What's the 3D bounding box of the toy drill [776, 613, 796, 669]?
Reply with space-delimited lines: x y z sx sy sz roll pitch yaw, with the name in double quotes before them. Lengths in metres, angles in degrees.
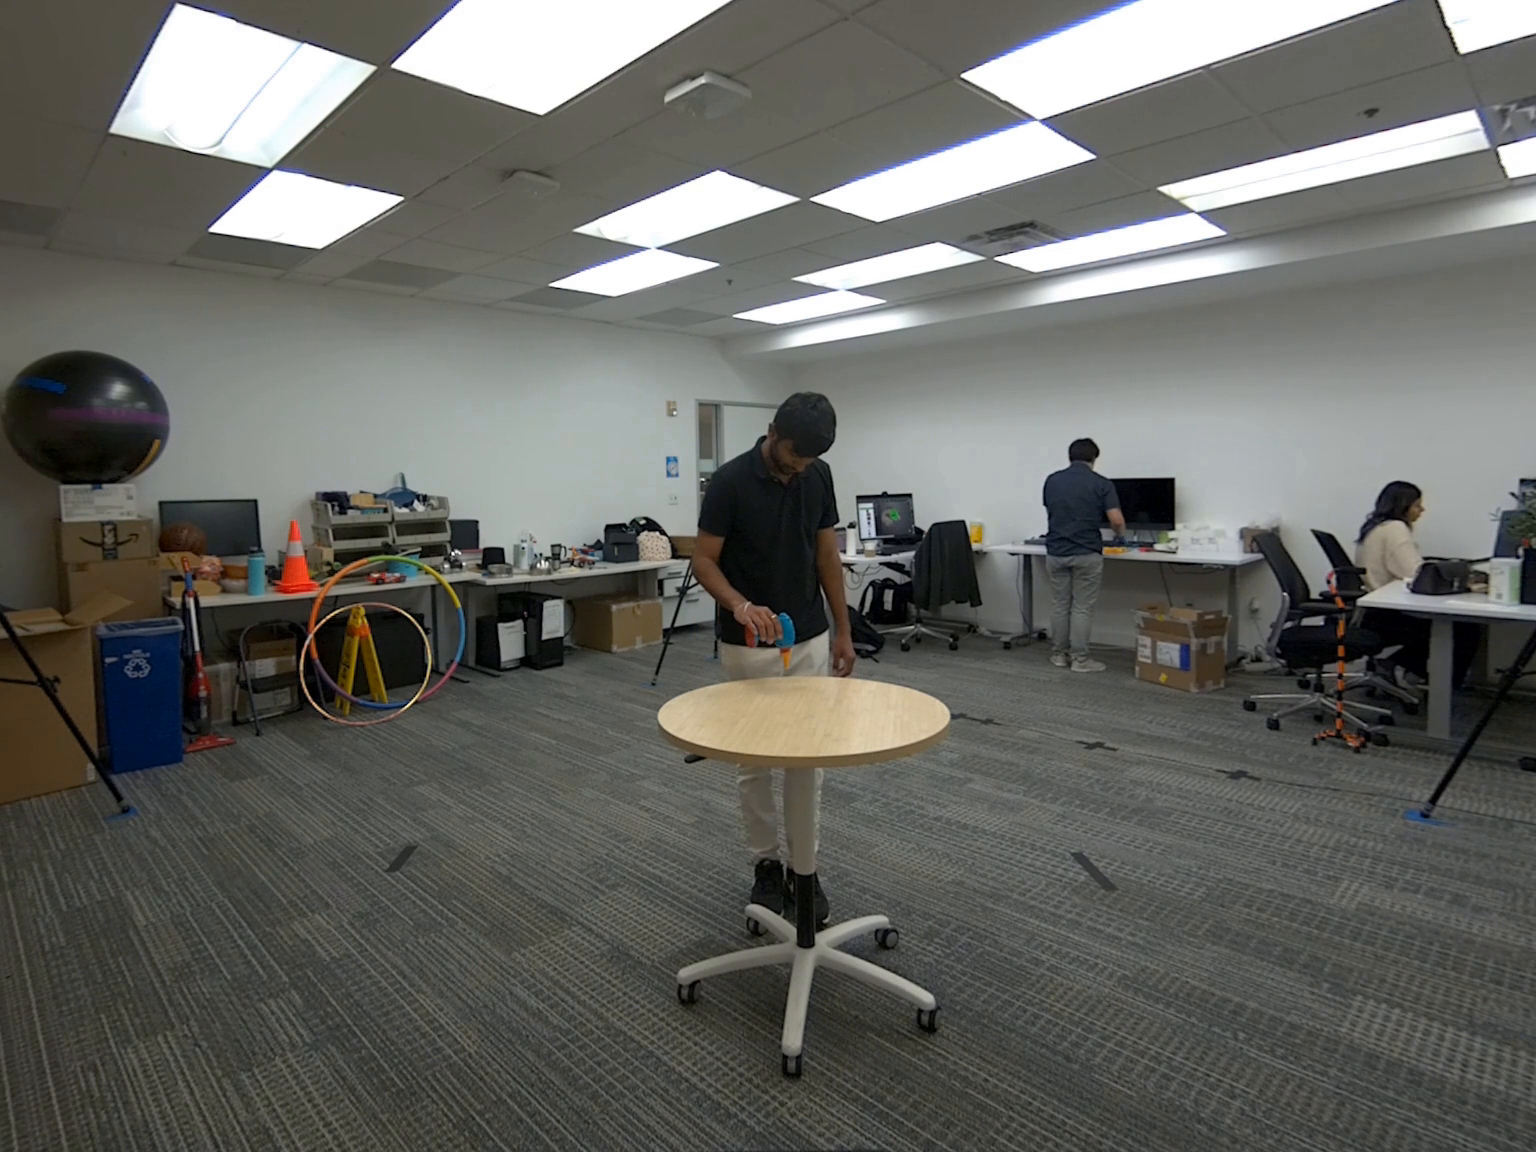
"toy drill" 0.002 0.197 2.497 0.143 0.168 0.063 -5 11 -21
